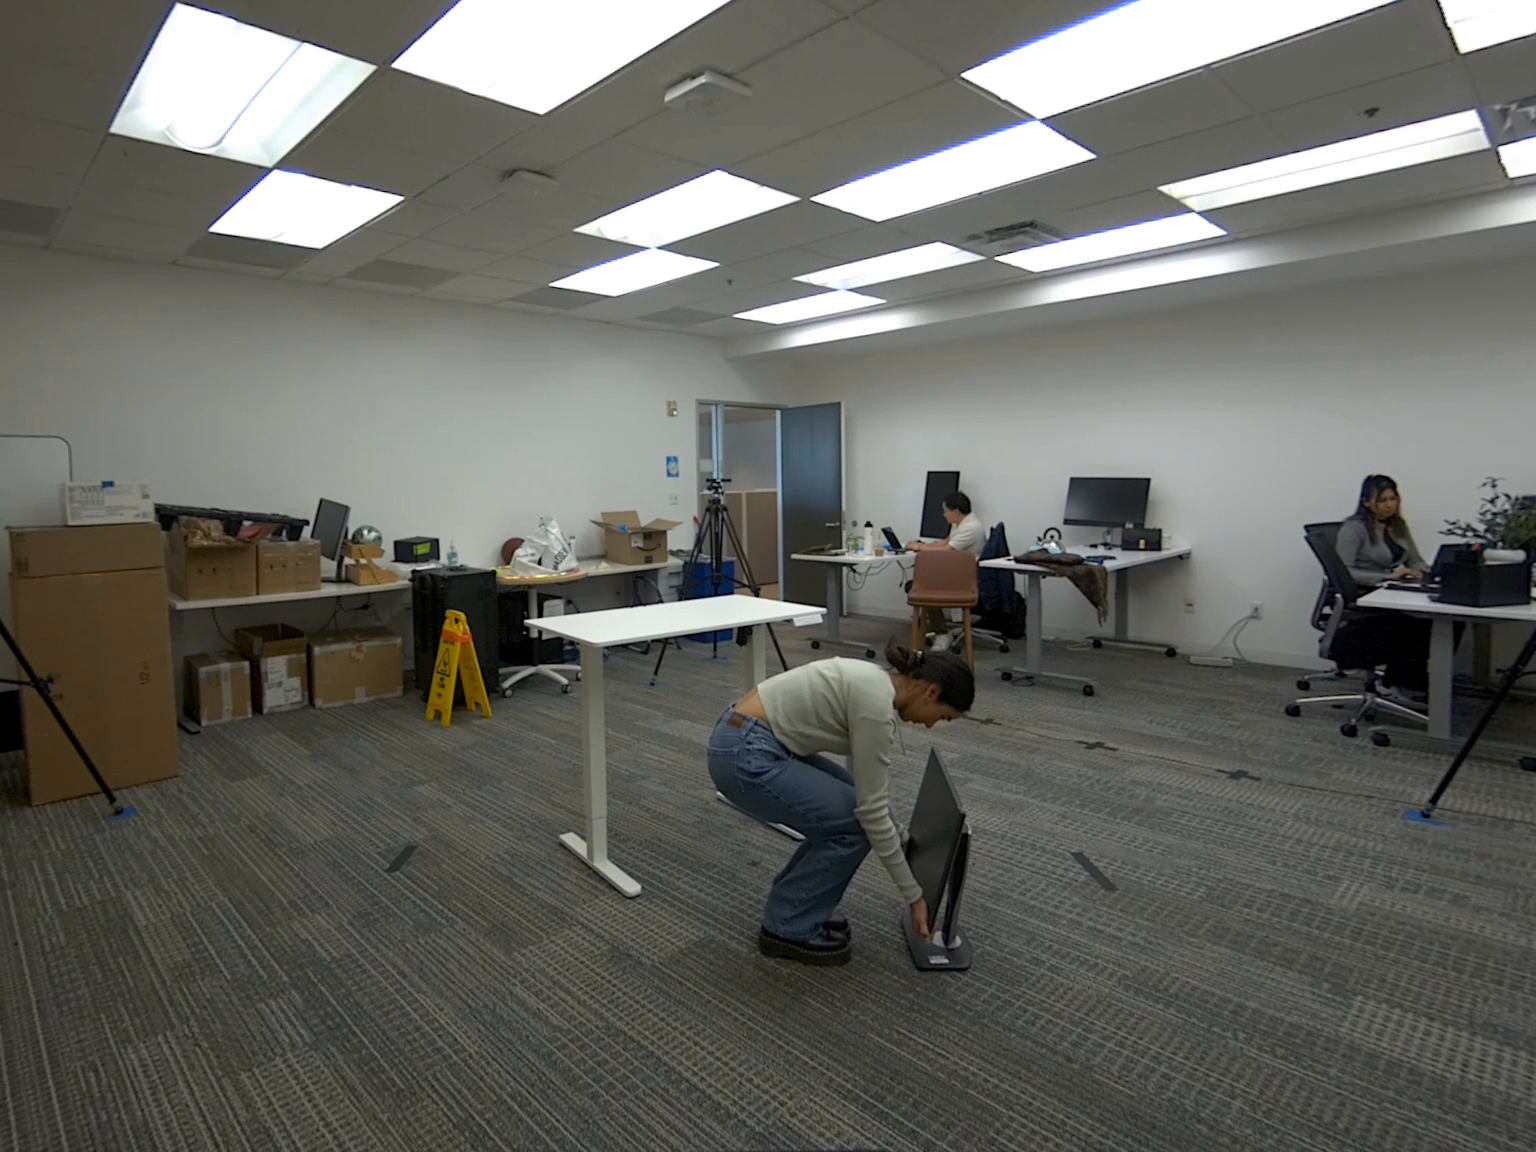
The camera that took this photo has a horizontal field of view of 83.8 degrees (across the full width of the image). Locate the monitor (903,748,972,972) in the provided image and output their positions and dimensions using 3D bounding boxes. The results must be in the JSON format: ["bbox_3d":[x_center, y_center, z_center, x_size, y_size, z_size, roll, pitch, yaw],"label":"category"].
[{"bbox_3d":[0.508,0.844,2.525,0.187,0.520,0.540,1,6,1],"label":"monitor"}]
